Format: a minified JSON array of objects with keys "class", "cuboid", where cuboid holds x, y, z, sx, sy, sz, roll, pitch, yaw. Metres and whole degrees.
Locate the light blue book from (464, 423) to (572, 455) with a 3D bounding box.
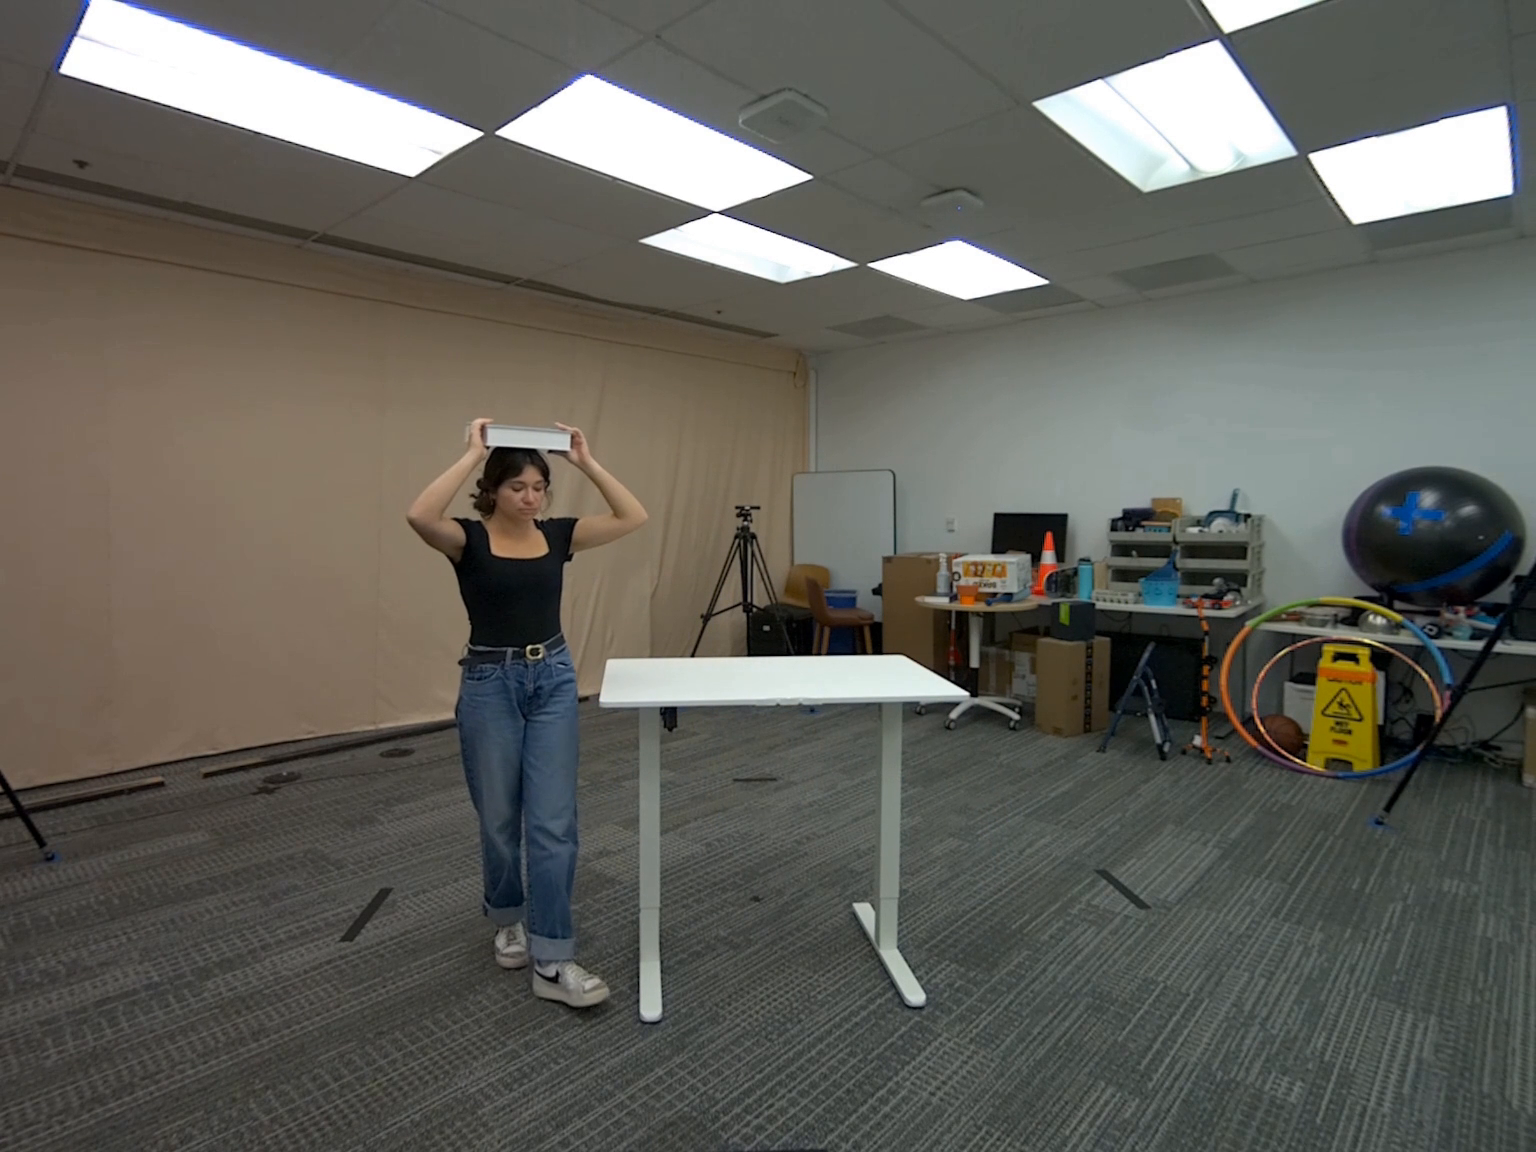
[{"class":"light blue book","cuboid":[-0.744,-0.414,2.472,0.253,0.059,0.198,-4,11,-40]}]
